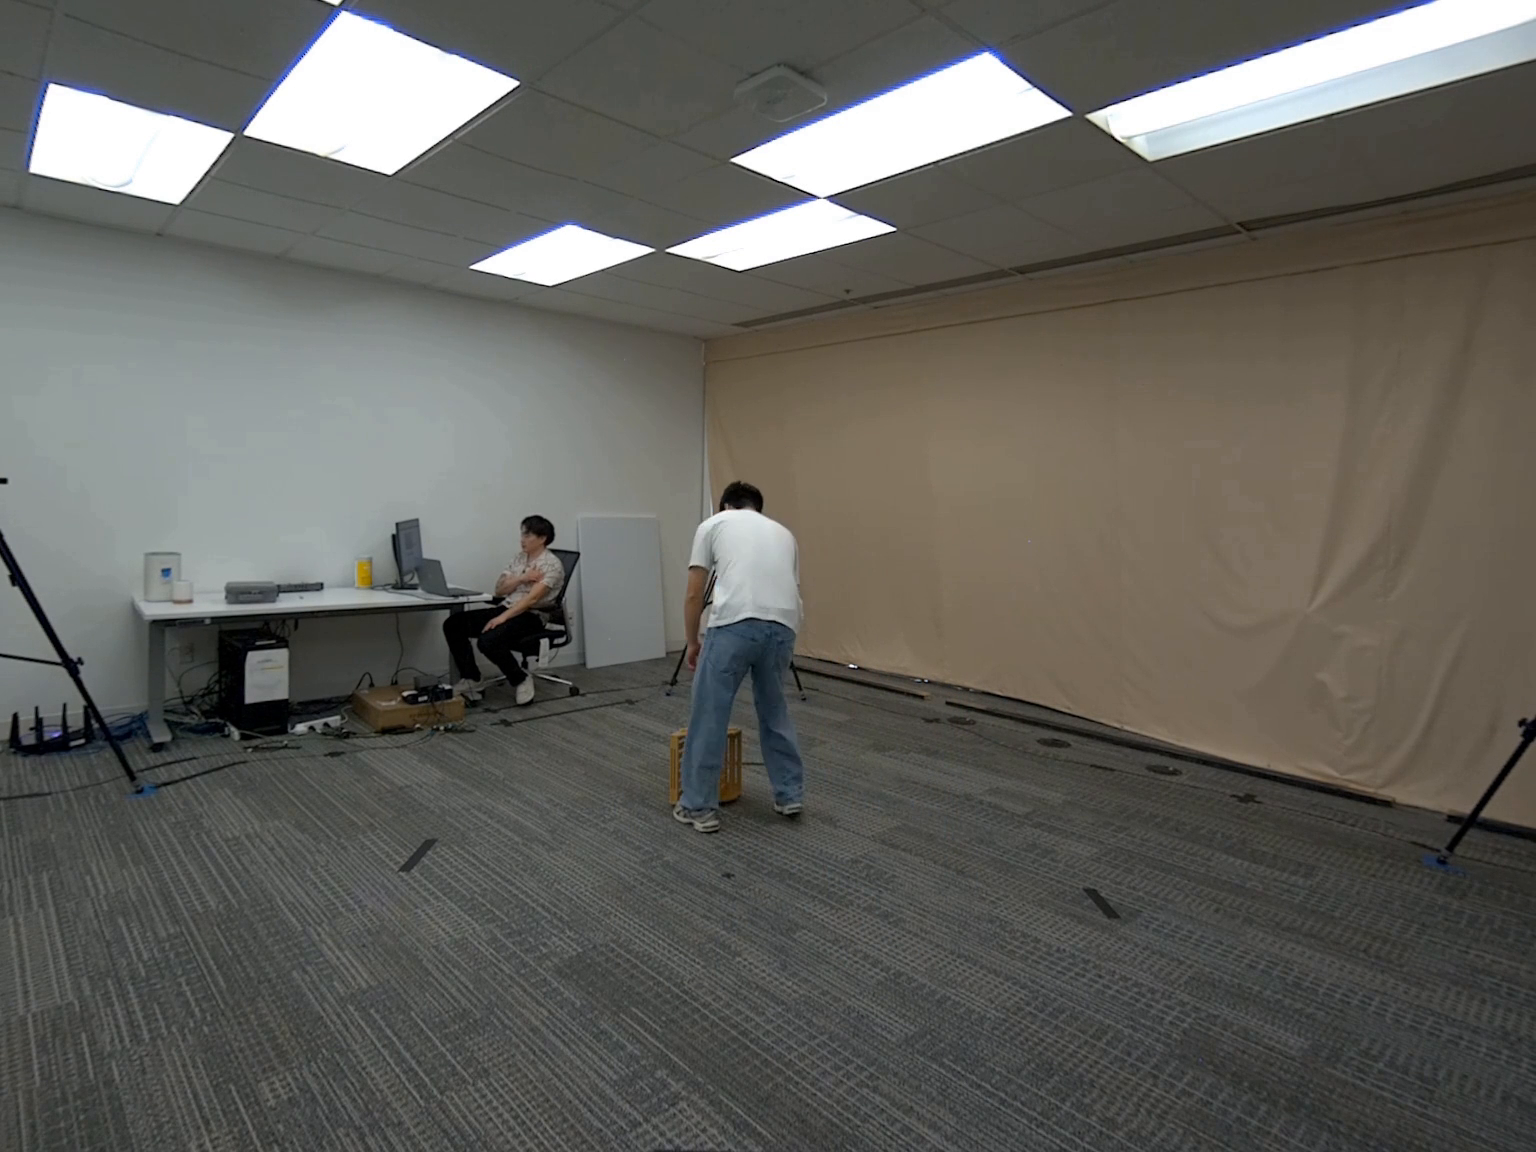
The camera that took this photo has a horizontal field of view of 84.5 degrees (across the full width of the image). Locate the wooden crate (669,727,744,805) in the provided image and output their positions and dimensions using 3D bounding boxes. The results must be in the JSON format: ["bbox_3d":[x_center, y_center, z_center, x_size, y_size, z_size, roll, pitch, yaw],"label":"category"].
[{"bbox_3d":[-0.283,0.867,3.874,0.277,0.325,0.297,-2,-3,17],"label":"wooden crate"}]
